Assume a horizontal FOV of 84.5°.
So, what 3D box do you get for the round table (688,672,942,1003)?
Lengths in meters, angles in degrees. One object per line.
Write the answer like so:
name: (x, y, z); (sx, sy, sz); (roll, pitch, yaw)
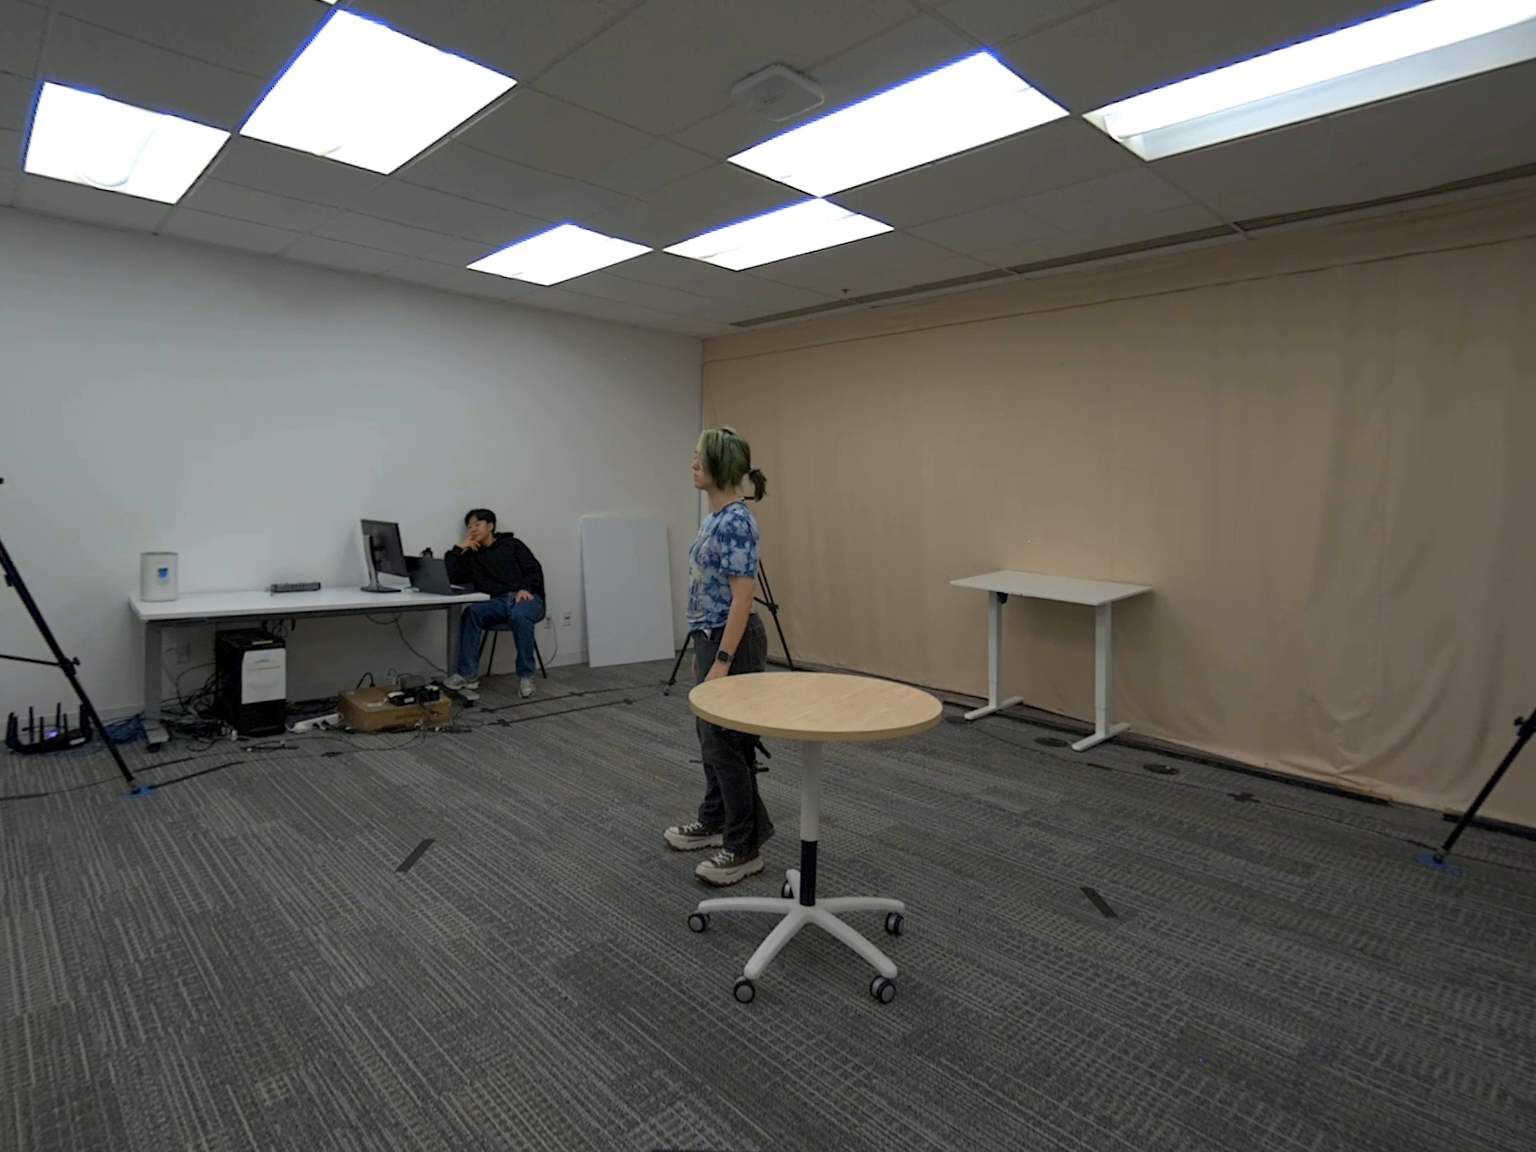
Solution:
round table: (0.121, 0.767, 2.597); (0.763, 0.792, 0.767); (2, 4, -2)
